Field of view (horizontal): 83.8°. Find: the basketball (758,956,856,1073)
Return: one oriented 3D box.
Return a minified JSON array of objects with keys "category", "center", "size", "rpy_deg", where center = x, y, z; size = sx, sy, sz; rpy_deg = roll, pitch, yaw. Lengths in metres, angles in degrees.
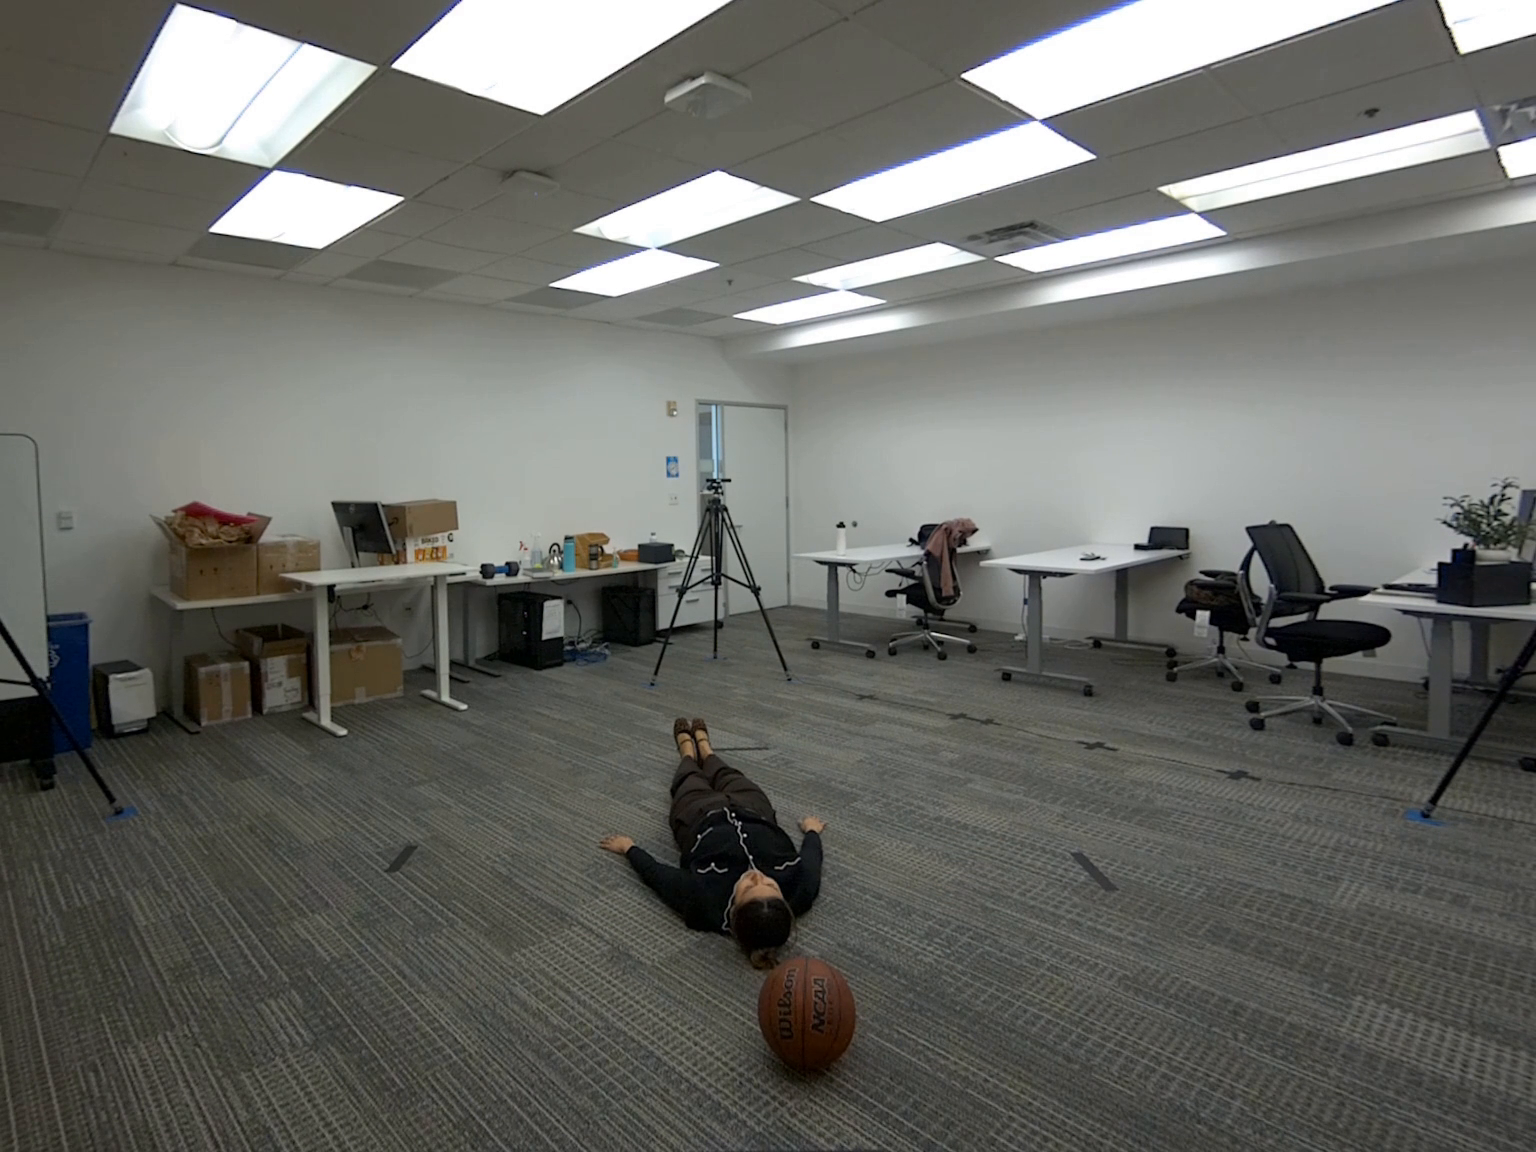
[{"category":"basketball","center":[0.102,1.046,2.058],"size":[0.236,0.235,0.237],"rpy_deg":[-1,5,-2]}]
